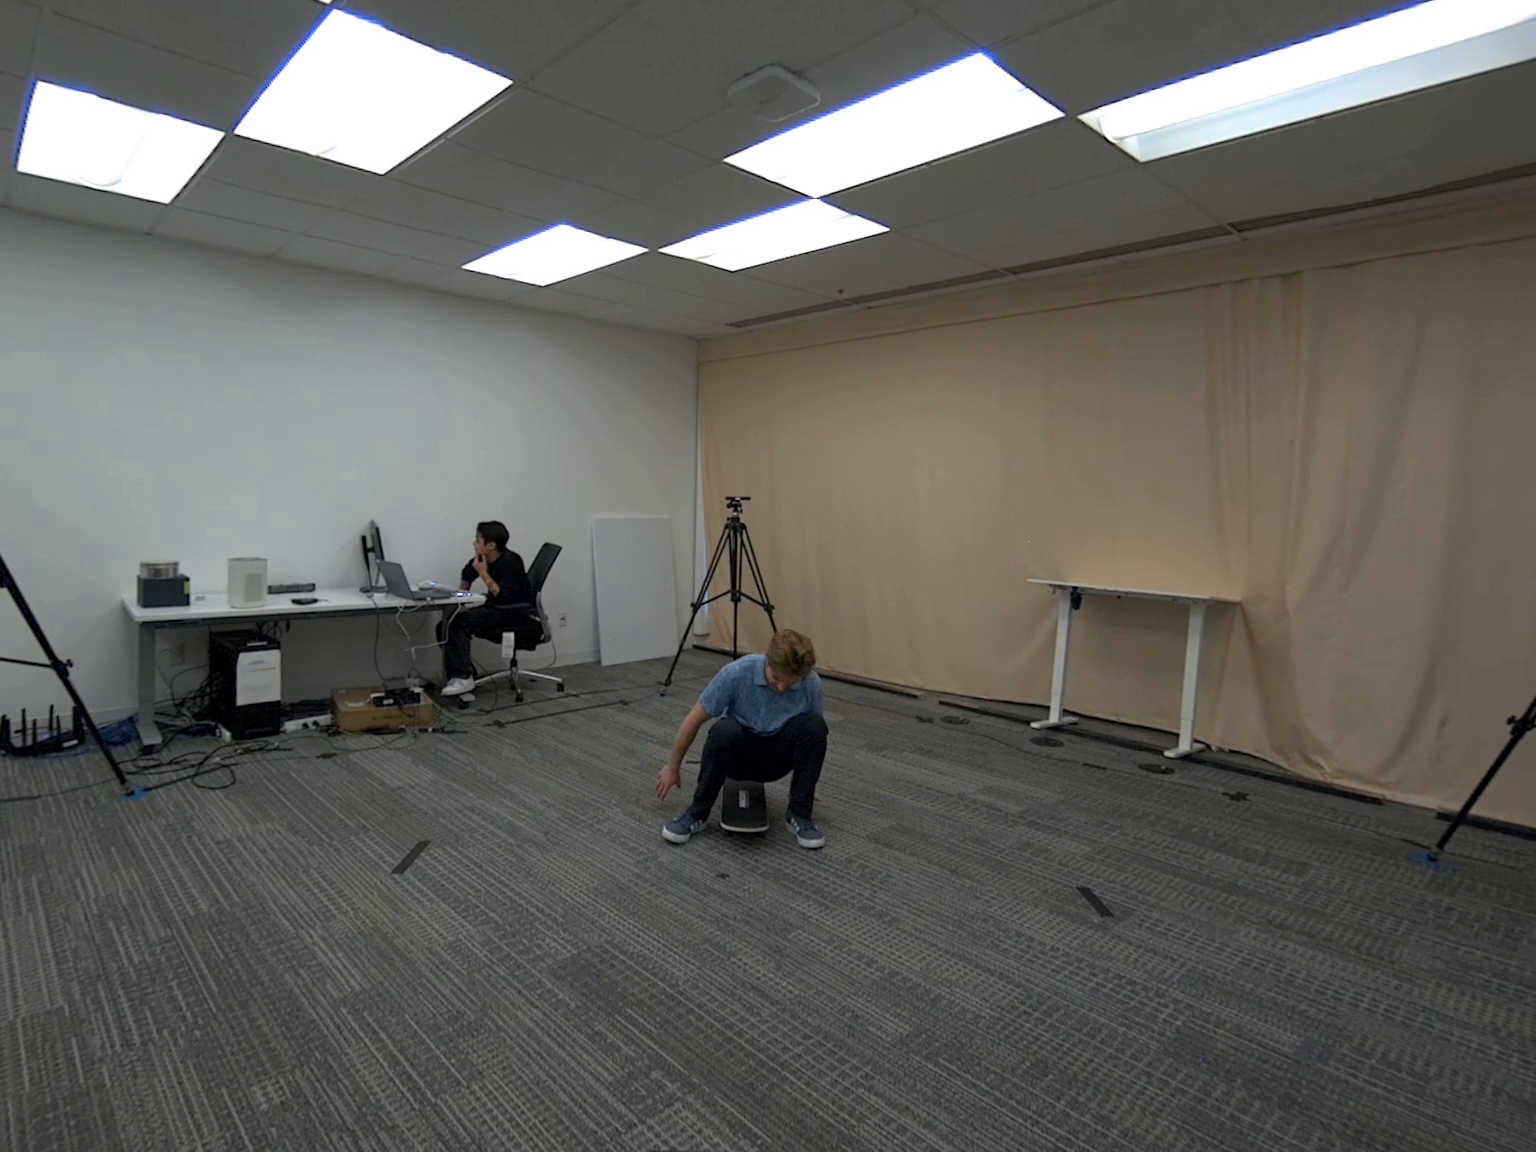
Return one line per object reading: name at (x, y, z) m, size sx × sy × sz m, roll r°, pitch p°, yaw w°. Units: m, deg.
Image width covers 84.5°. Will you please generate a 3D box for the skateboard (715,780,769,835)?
skateboard at (-0.118, 1.005, 3.669) m, size 0.193 × 0.110 × 0.789 m, roll 2°, pitch 4°, yaw -4°
